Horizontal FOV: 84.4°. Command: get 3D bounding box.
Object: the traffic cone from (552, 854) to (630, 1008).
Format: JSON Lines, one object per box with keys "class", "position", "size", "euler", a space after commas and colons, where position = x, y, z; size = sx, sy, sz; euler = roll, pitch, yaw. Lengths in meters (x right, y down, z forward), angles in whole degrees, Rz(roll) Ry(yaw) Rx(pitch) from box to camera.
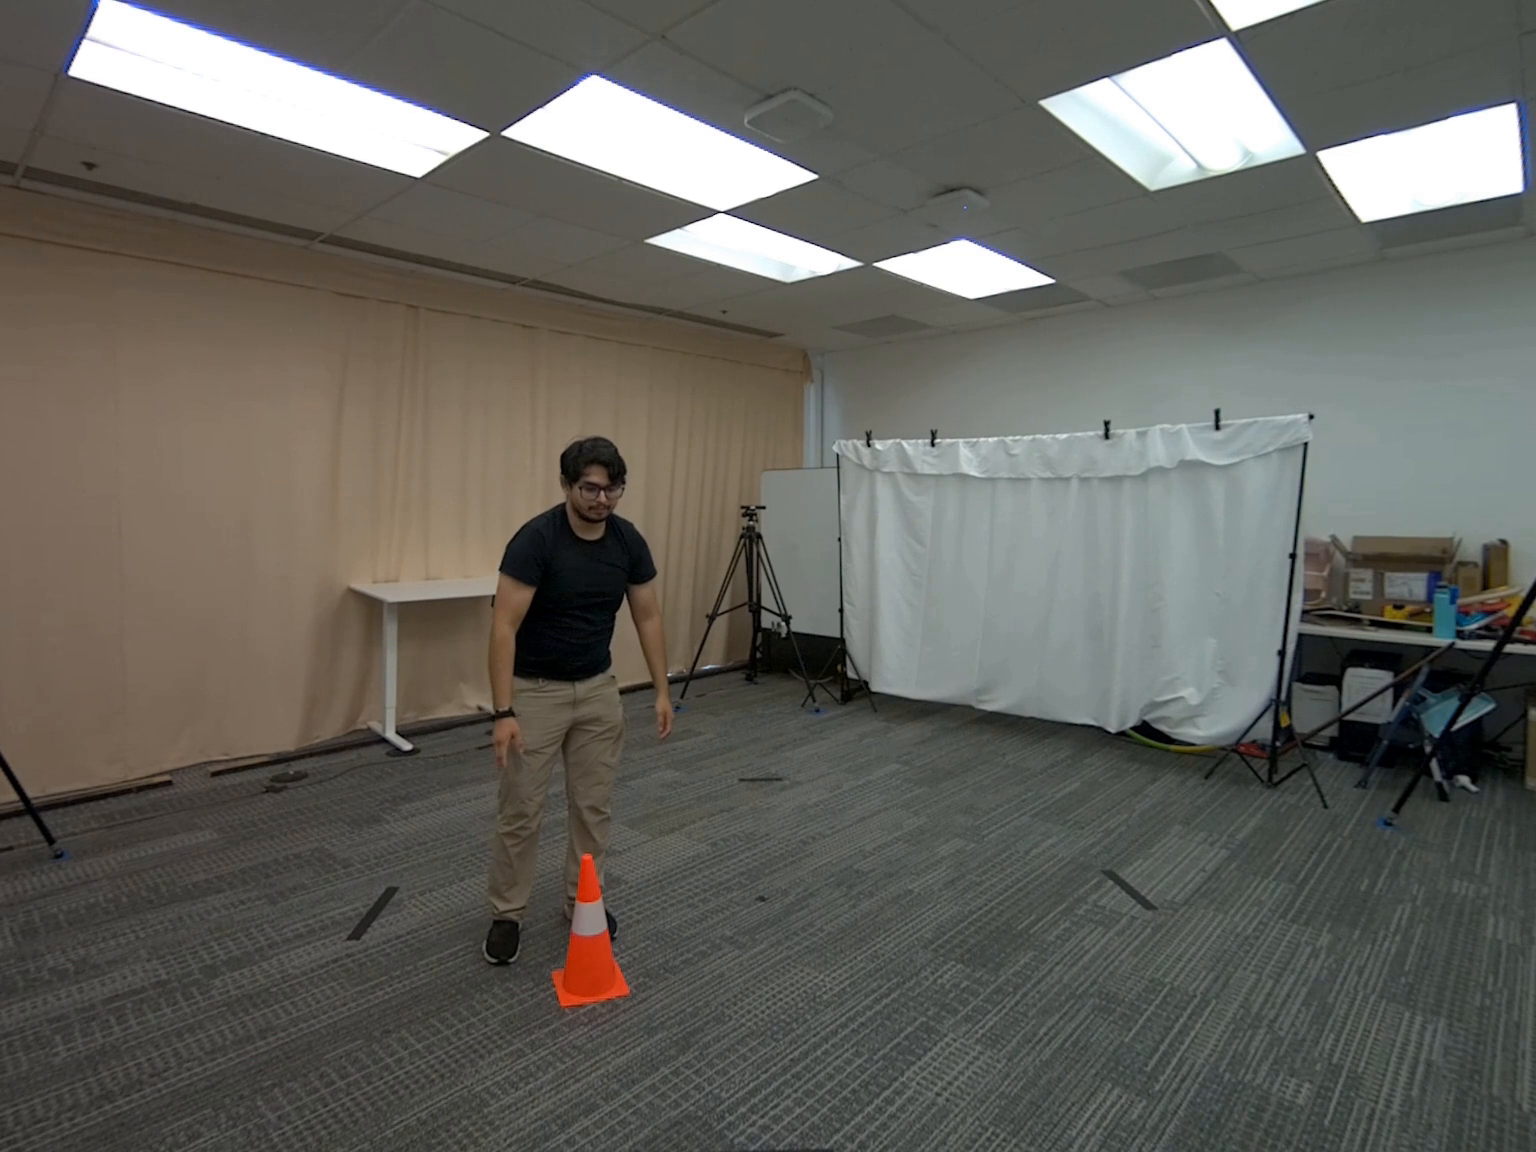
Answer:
{"class": "traffic cone", "position": [-0.525, 1.009, 2.454], "size": [0.199, 0.383, 0.209], "euler": [-1, 2, -22]}
